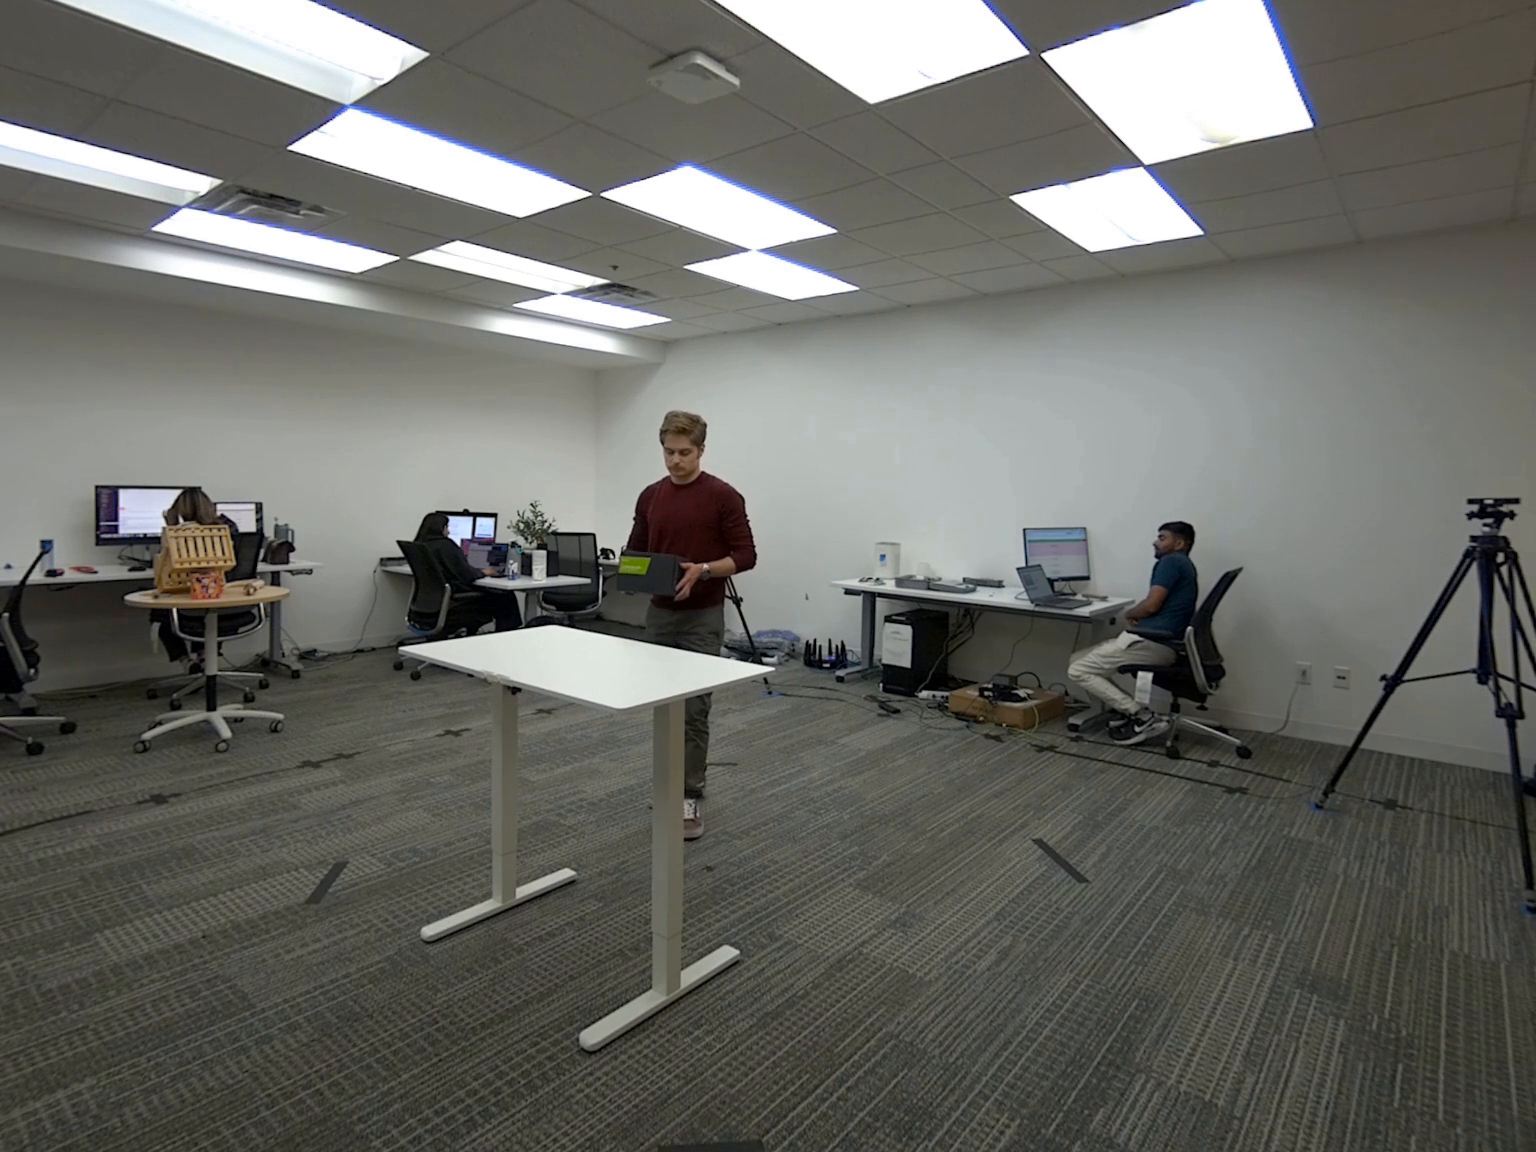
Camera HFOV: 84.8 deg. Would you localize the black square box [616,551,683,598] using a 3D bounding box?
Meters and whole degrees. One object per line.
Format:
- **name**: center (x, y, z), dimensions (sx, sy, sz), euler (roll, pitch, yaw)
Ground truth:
- **black square box**: center (-0.457, -0.015, 3.363), dimensions (0.232, 0.156, 0.213), euler (4, -3, 14)
